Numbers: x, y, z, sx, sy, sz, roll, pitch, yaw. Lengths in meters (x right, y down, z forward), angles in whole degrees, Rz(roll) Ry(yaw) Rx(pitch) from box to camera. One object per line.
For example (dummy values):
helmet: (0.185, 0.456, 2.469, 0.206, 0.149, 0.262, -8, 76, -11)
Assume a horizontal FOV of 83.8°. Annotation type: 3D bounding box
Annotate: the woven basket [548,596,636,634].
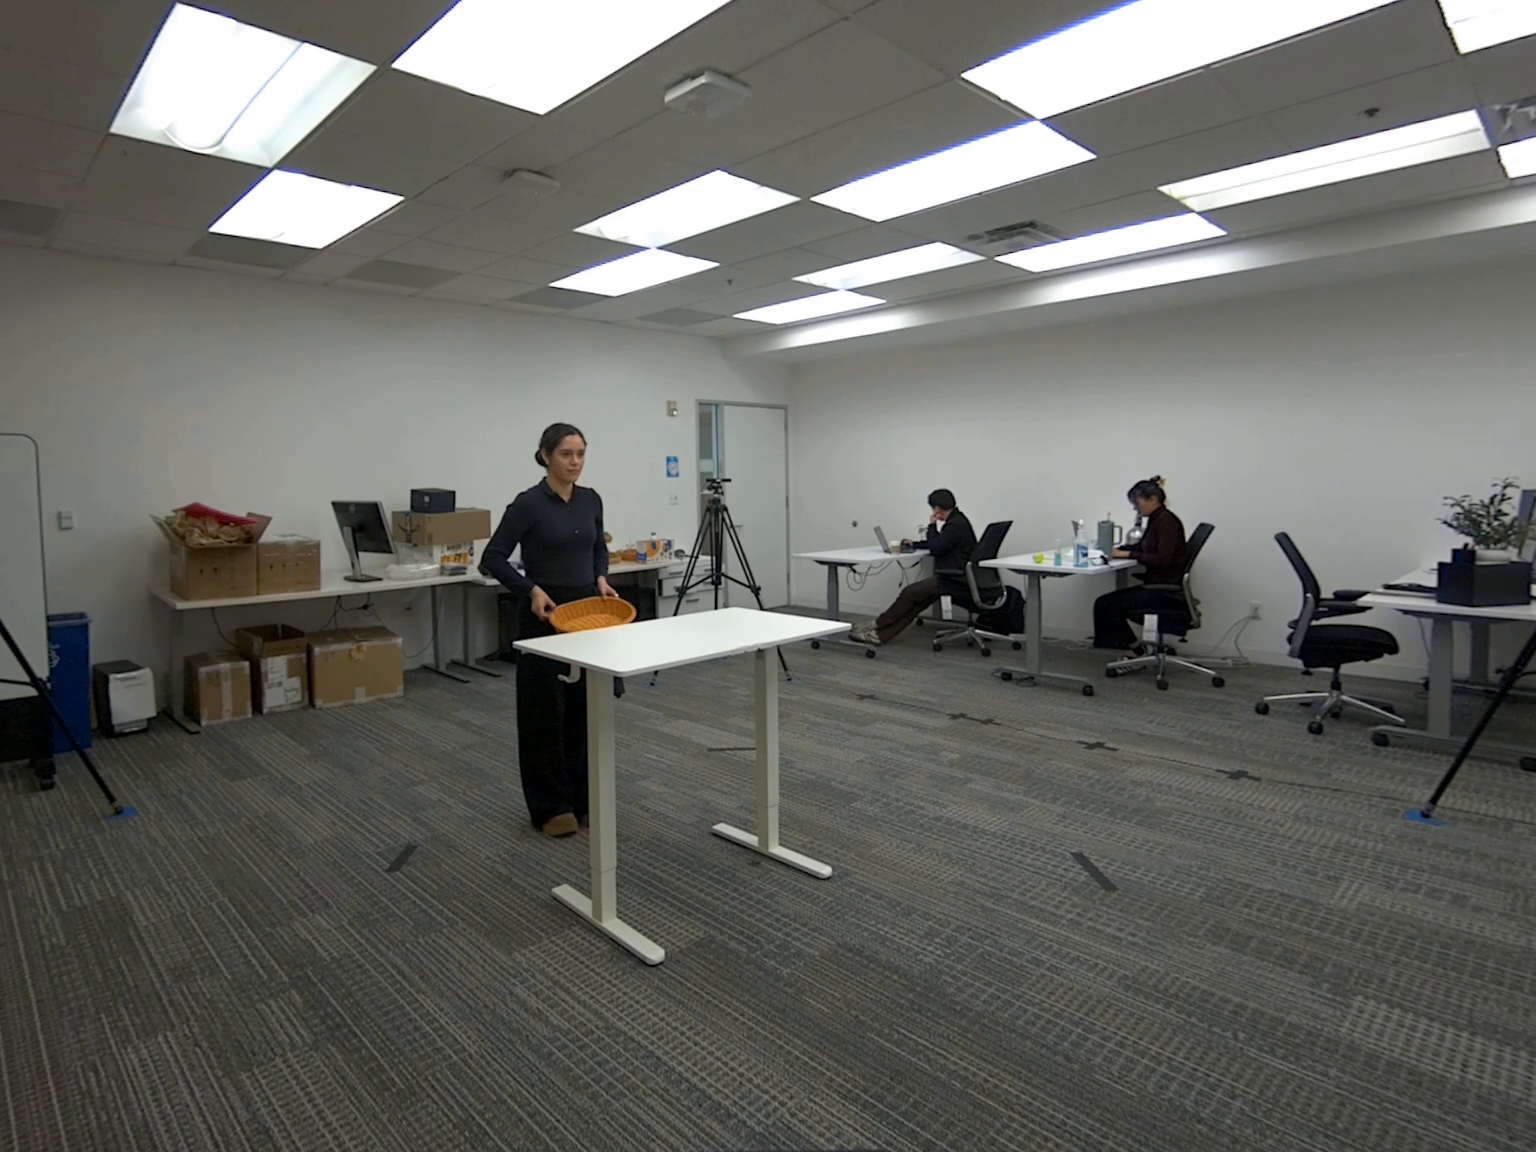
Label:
woven basket: (-0.675, 0.179, 3.297, 0.343, 0.072, 0.262, -12, 29, -36)
